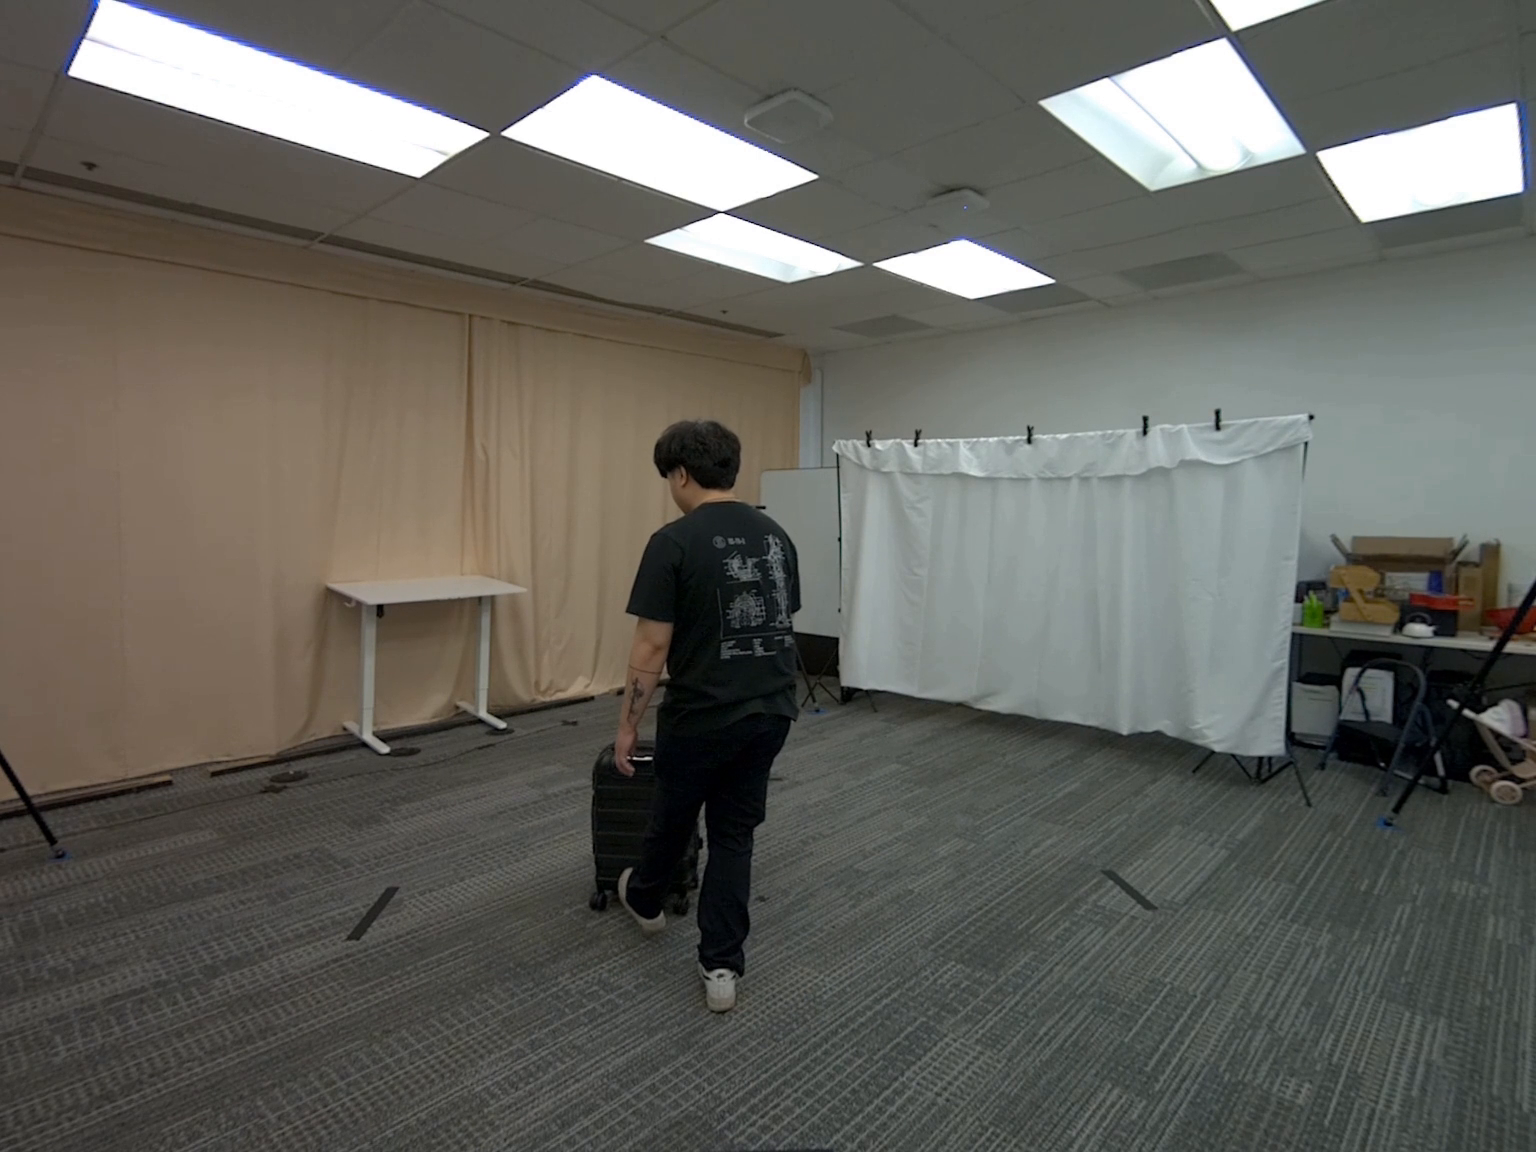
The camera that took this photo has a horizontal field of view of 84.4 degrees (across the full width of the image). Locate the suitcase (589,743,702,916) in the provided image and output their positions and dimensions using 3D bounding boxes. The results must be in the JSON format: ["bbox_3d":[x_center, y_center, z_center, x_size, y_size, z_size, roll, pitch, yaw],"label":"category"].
[{"bbox_3d":[-0.440,0.872,3.008,0.379,0.550,0.246,-1,-1,8],"label":"suitcase"}]
